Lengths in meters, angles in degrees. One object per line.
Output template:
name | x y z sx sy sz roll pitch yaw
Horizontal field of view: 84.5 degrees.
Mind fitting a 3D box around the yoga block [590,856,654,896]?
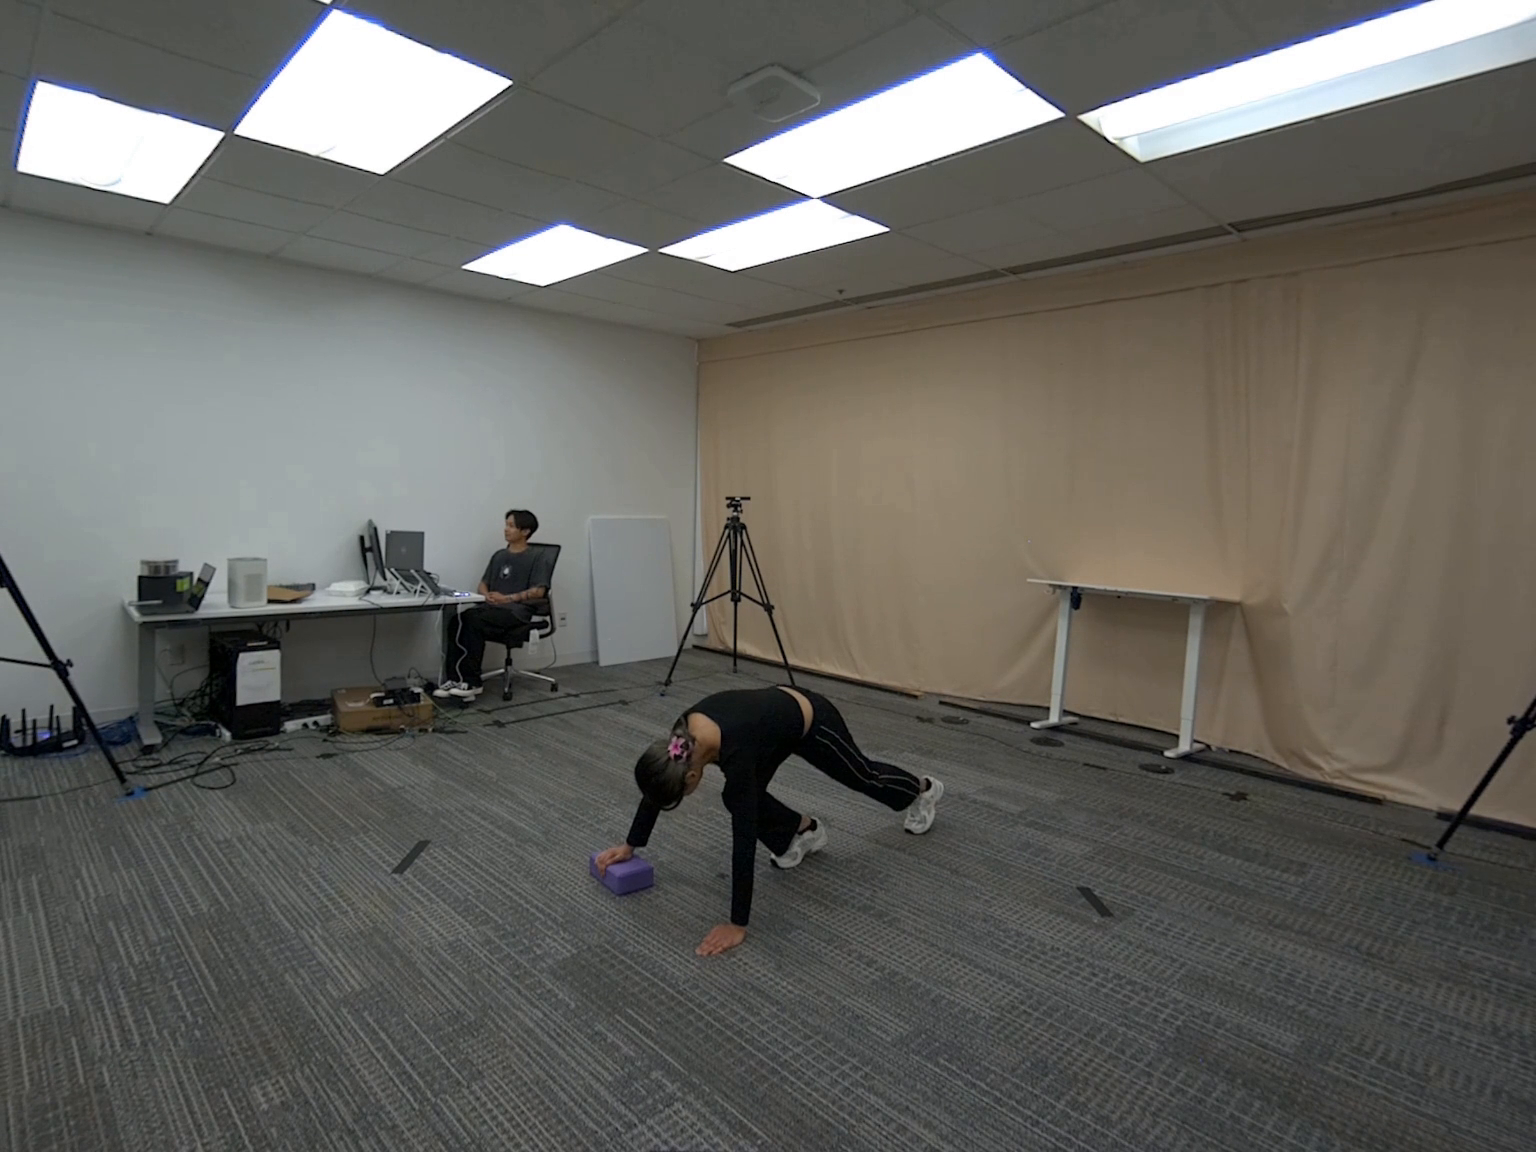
yoga block | -0.535 1.065 3.050 0.146 0.076 0.235 -3 5 -37
